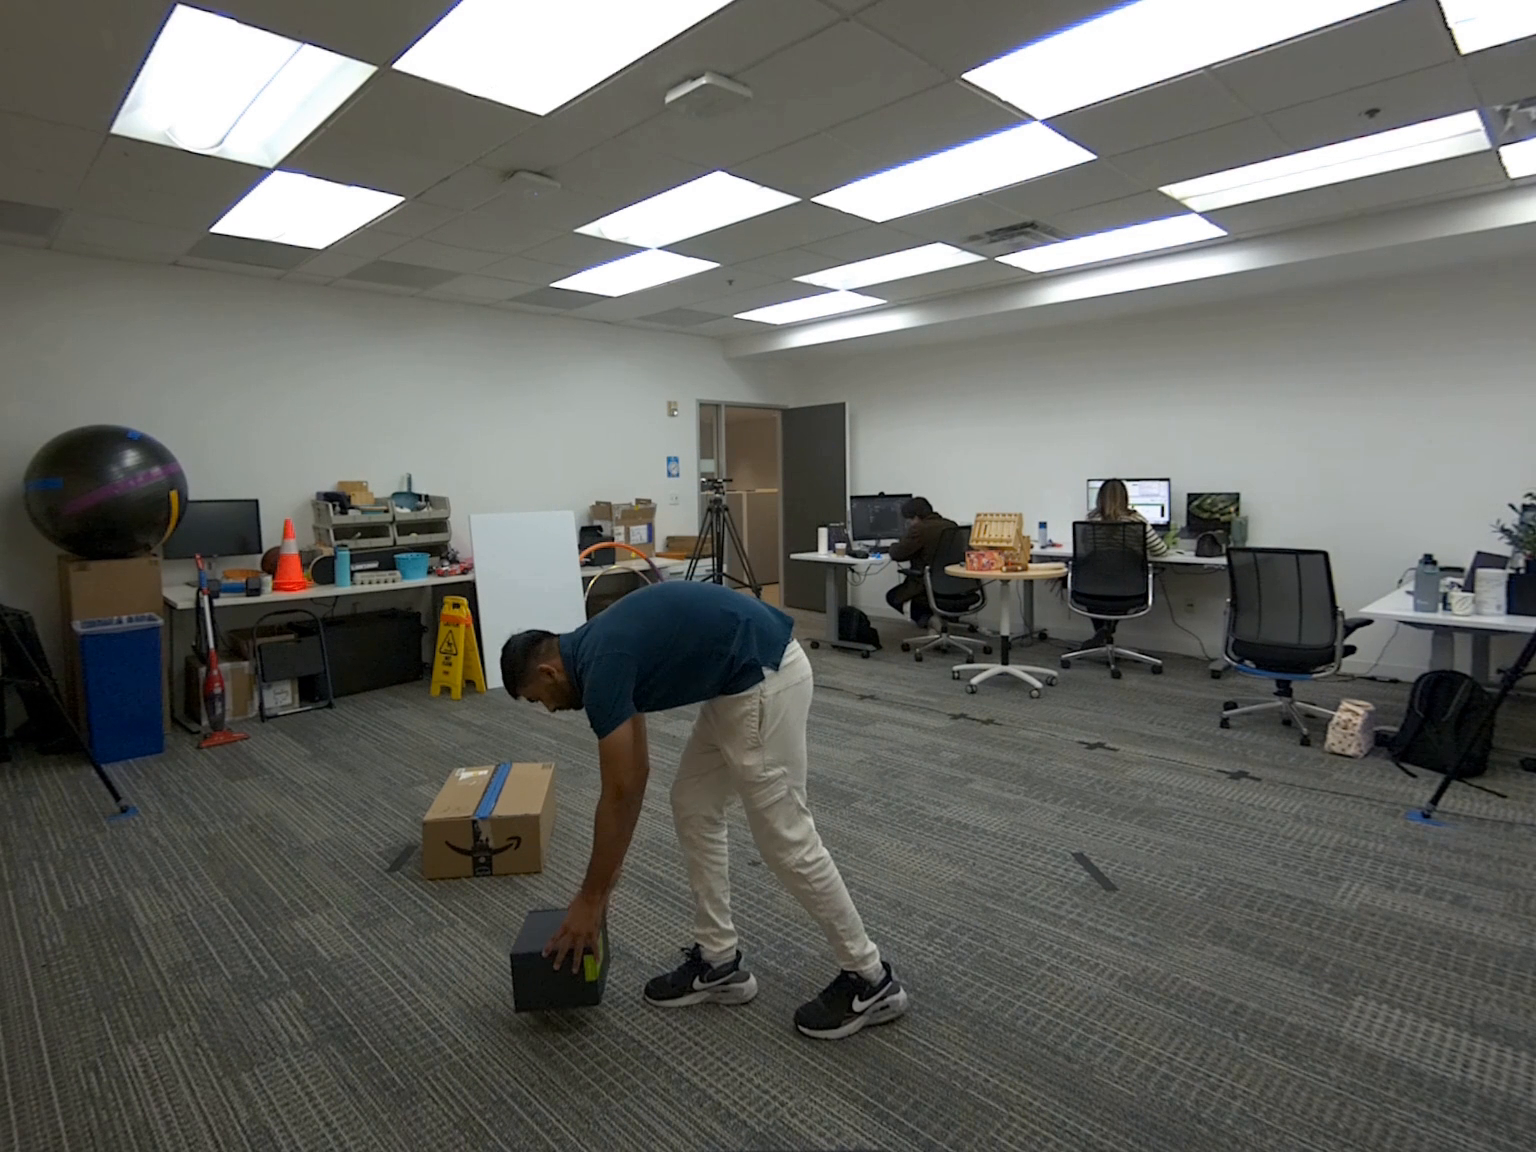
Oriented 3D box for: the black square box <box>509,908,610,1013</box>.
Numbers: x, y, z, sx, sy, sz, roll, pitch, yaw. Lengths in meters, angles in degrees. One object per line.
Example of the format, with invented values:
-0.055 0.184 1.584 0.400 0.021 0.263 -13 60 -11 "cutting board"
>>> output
-0.547 0.989 2.252 0.217 0.155 0.229 -3 4 -2 "black square box"
